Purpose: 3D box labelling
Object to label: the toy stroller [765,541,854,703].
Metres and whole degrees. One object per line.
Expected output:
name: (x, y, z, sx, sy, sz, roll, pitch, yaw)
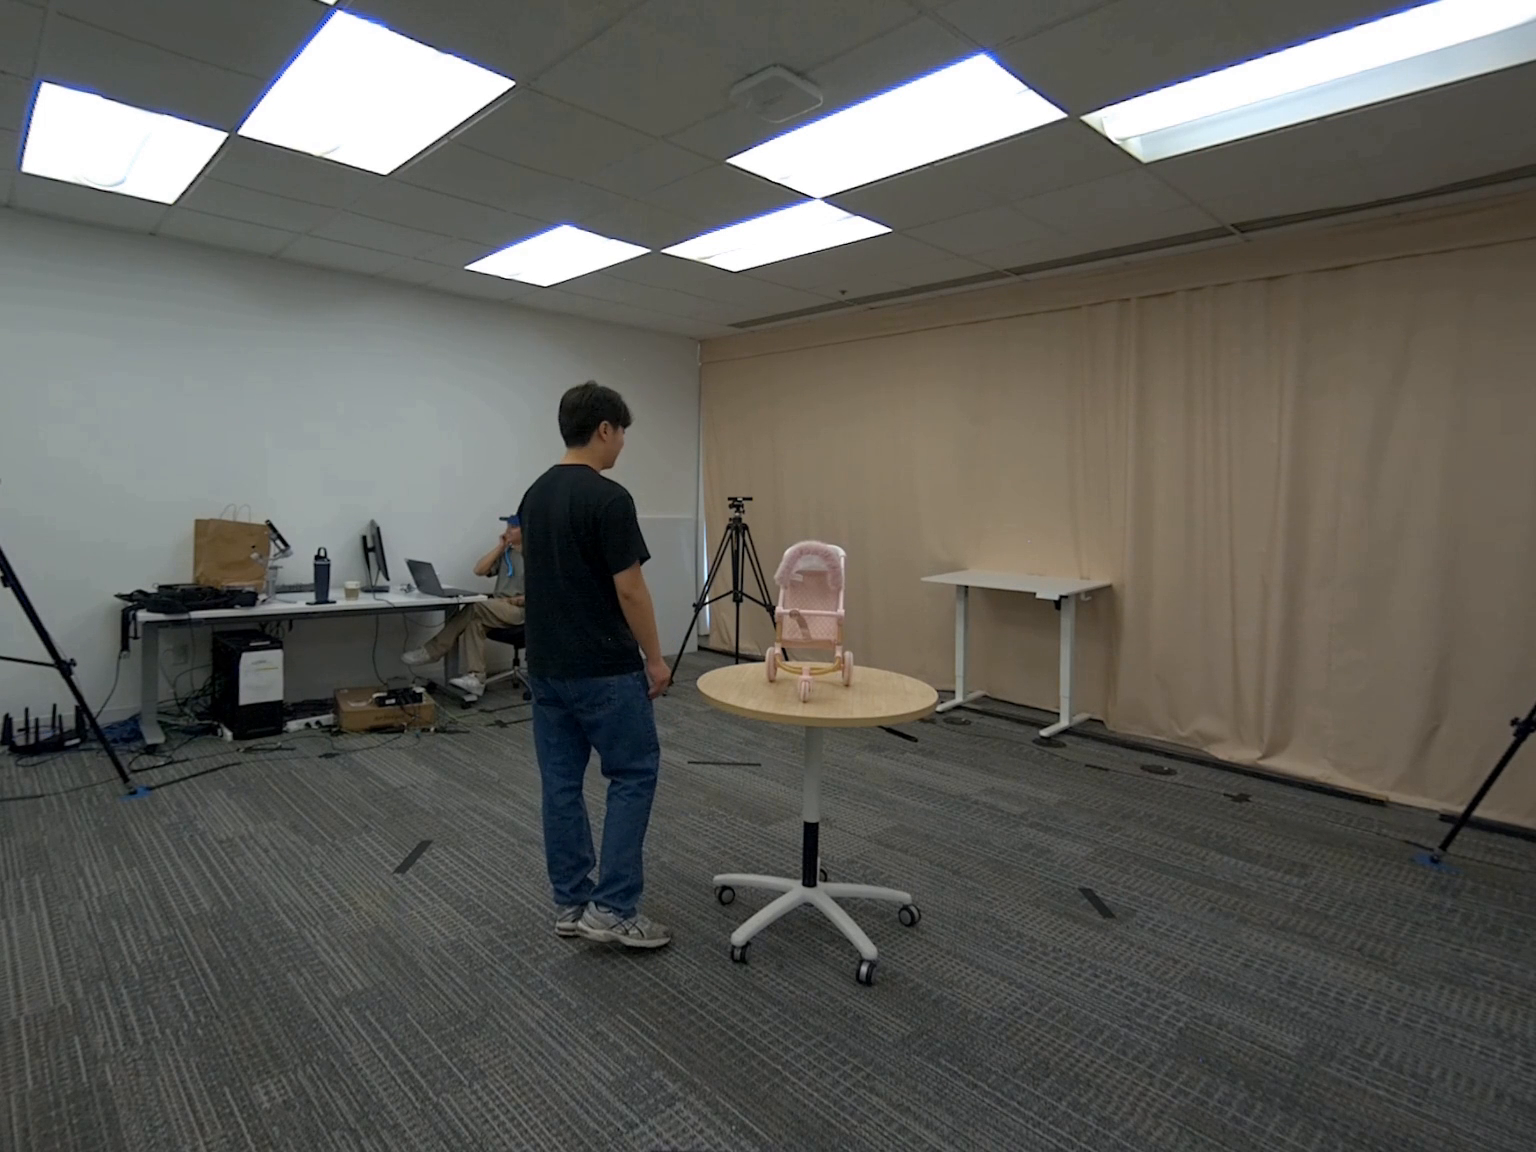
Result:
toy stroller: (0.125, 0.131, 2.662, 0.284, 0.539, 0.336, 1, -11, 9)
